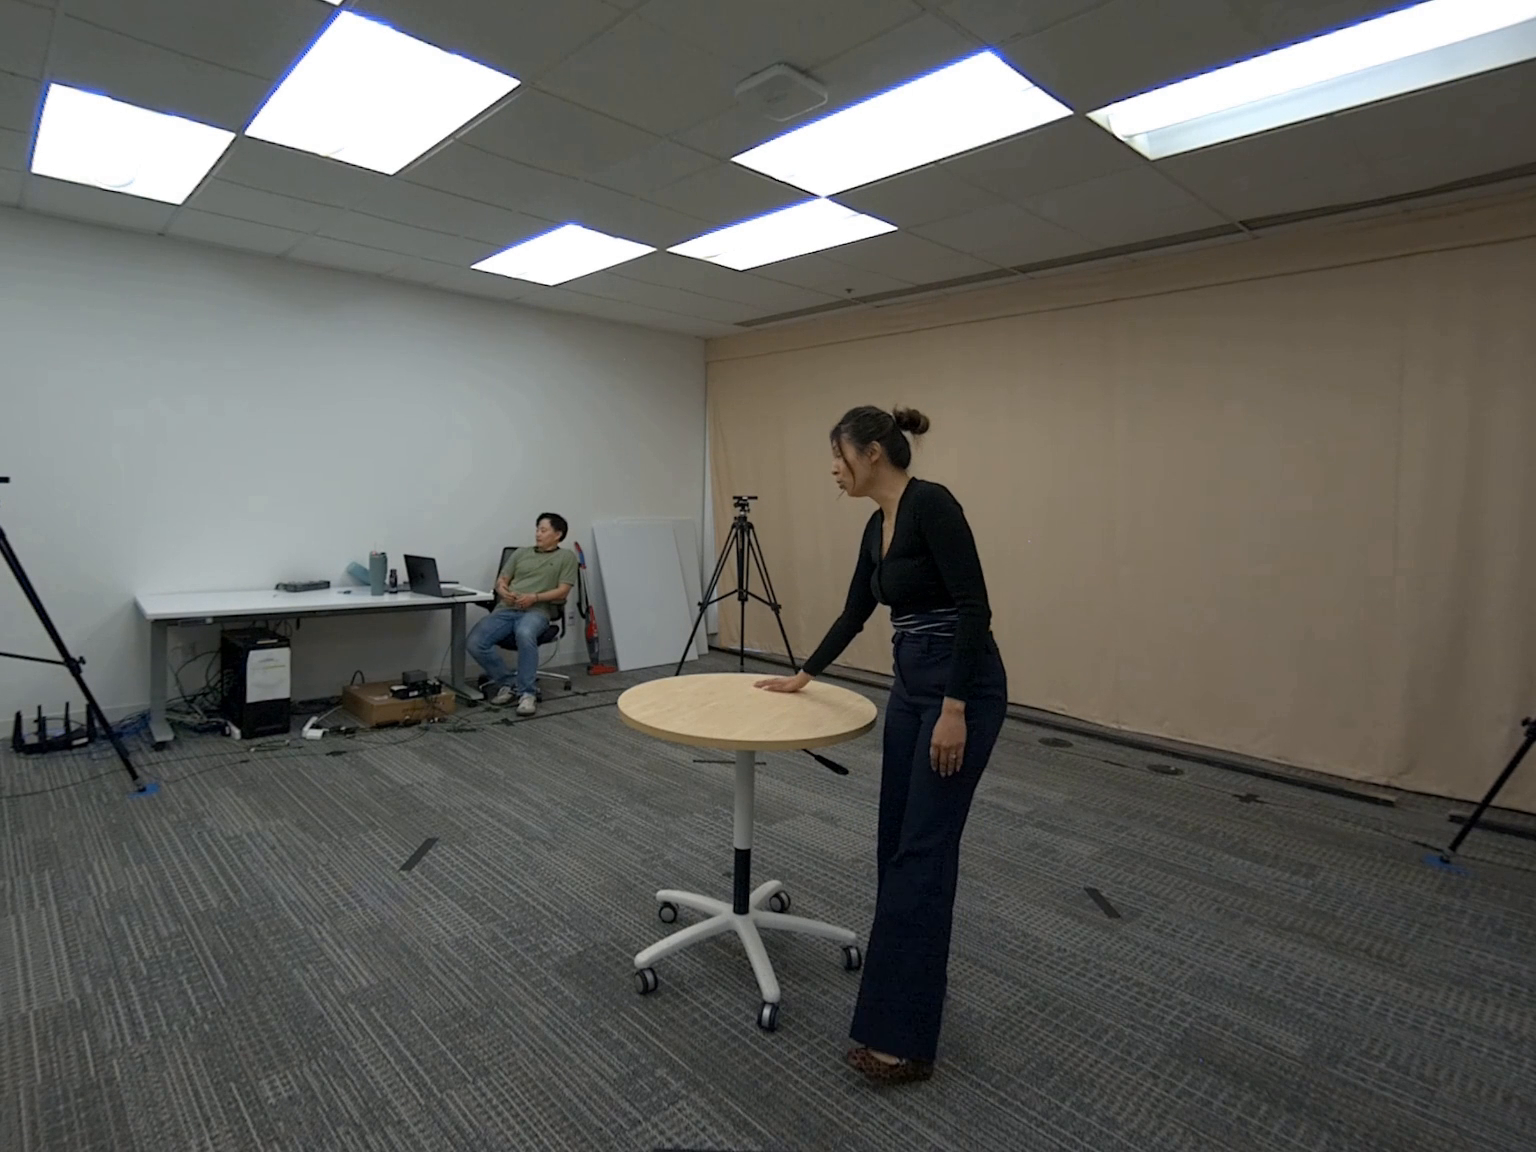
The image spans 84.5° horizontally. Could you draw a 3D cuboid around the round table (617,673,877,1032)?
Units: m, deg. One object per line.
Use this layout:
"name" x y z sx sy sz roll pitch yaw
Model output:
"round table" -0.081 0.770 2.530 0.763 0.792 0.767 2 4 -1
